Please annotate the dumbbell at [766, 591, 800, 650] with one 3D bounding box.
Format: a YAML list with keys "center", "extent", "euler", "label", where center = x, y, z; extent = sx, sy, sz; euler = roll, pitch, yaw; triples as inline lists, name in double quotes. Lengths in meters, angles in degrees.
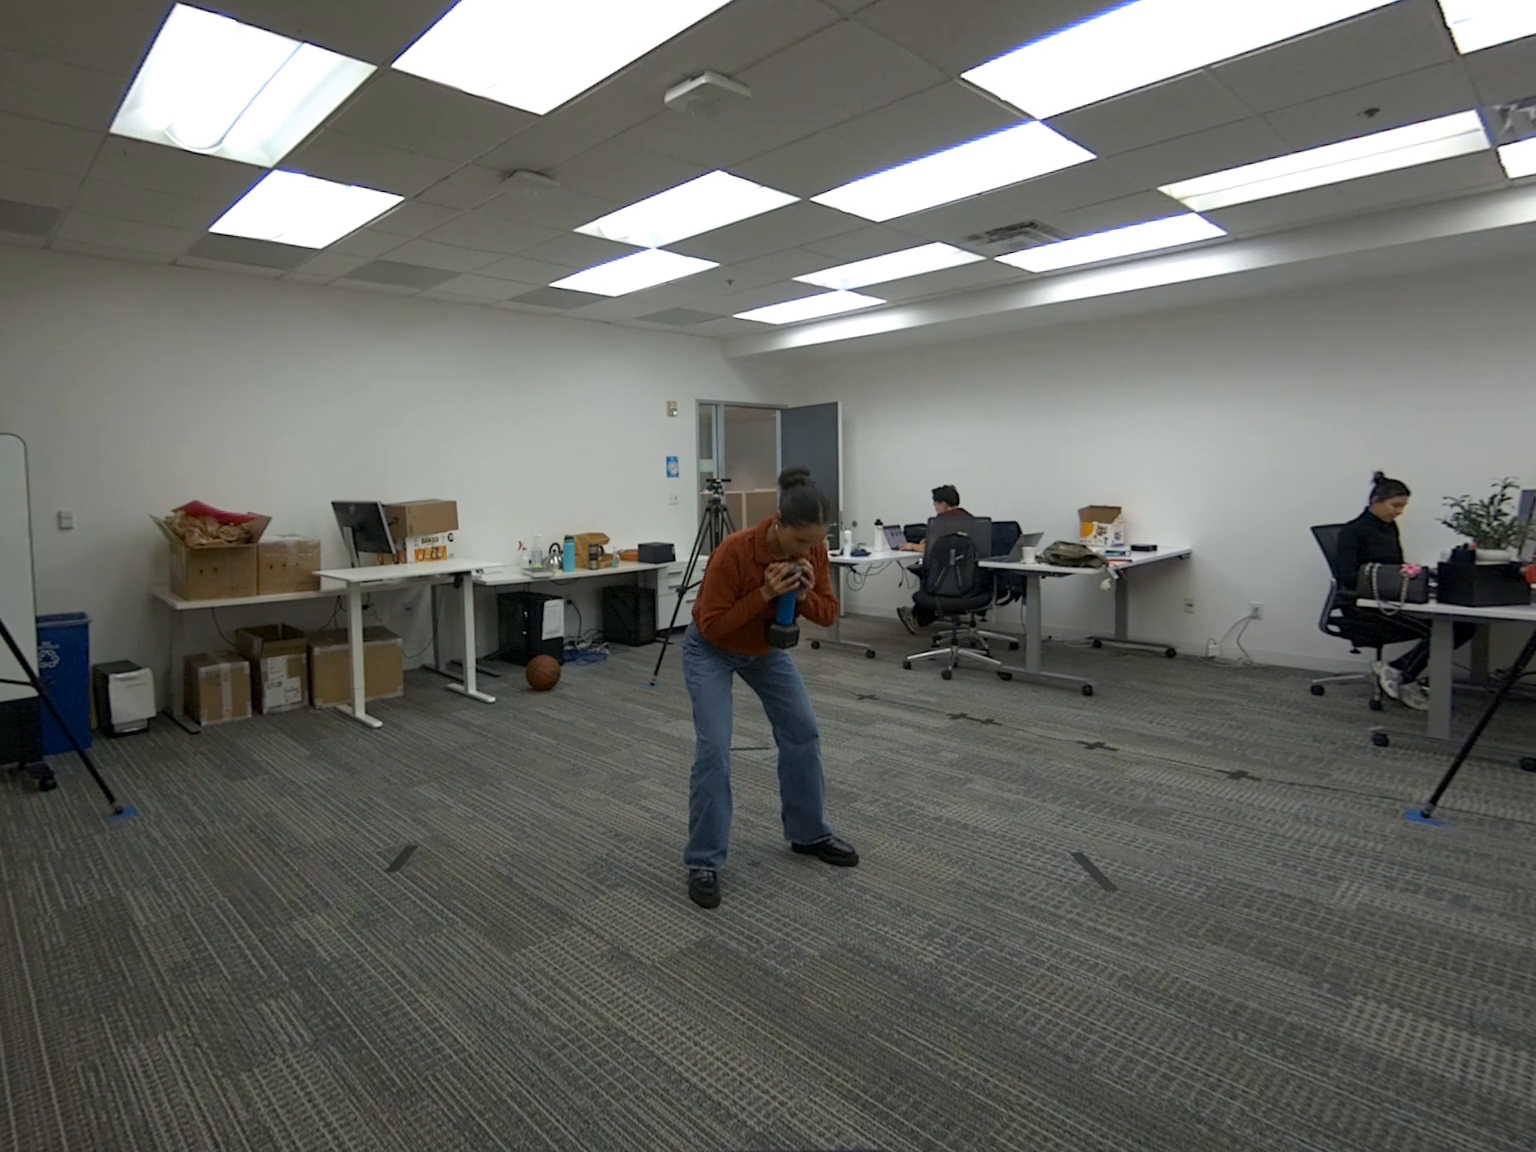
- center: [0.039, 0.107, 2.873]
  extent: [0.120, 0.289, 0.113]
  euler: [-14, 22, -36]
  label: "dumbbell"
